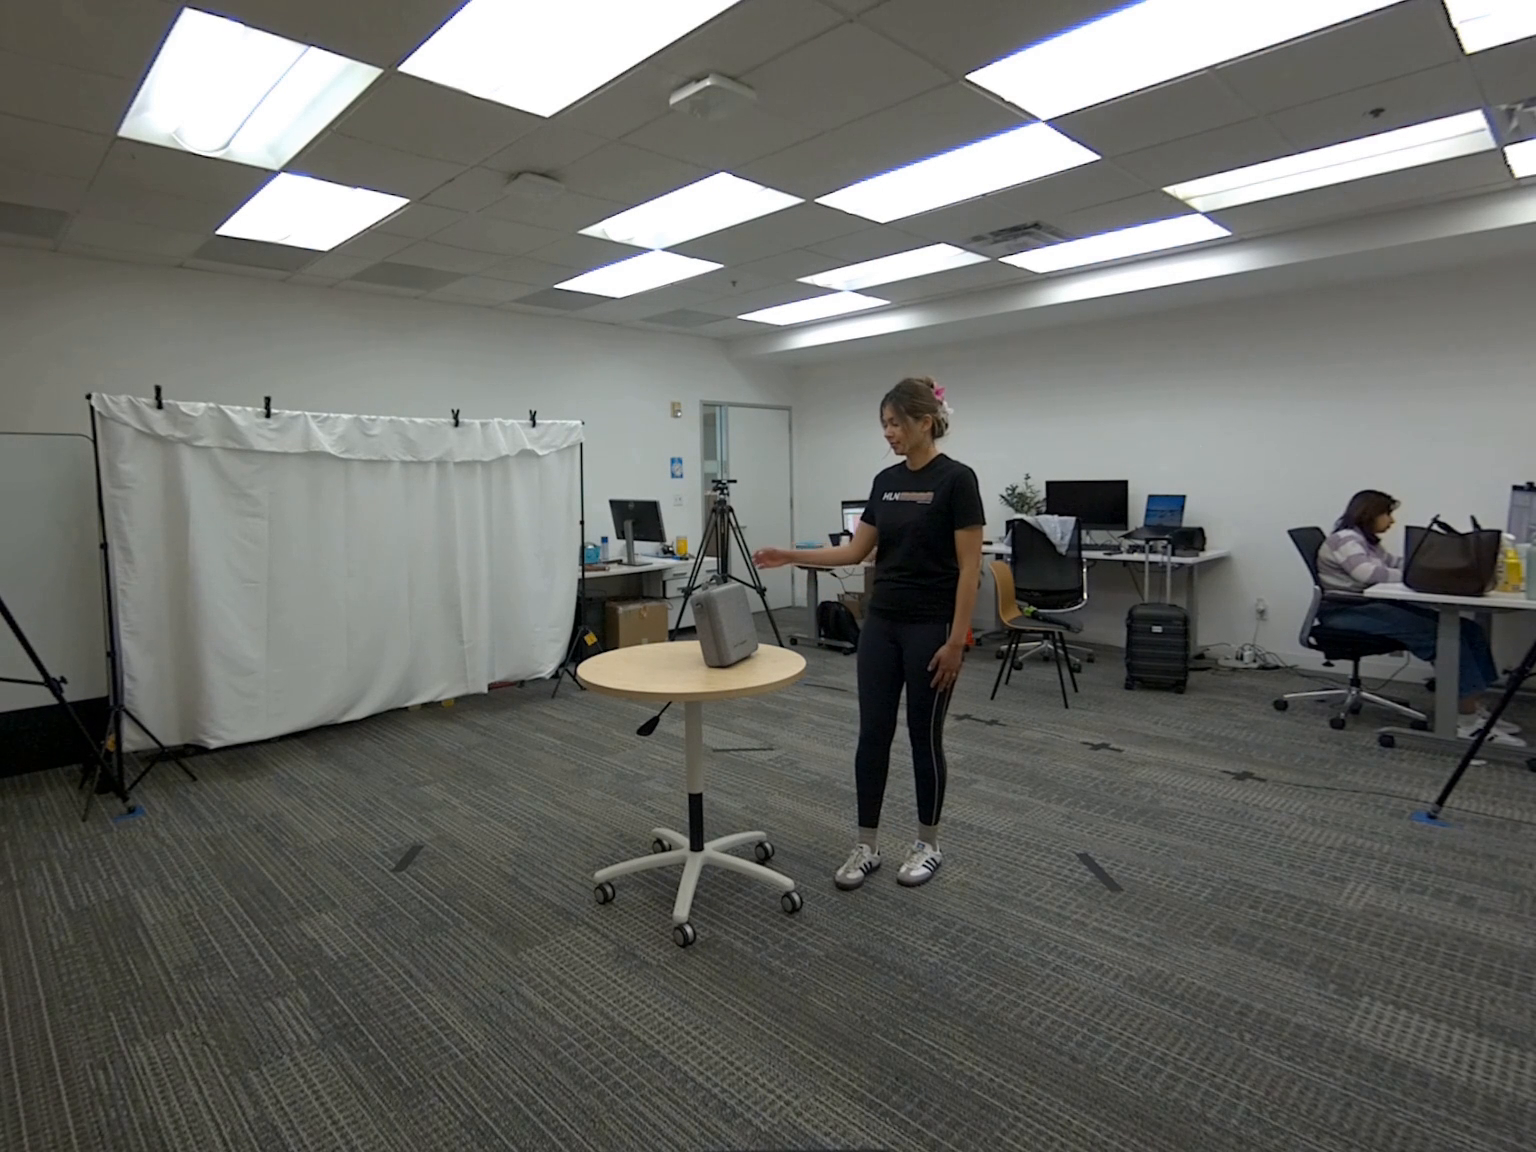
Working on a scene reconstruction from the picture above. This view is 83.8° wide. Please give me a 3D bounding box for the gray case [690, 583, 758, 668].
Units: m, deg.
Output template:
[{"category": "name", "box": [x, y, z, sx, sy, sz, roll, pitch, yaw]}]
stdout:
[{"category": "gray case", "box": [-0.142, 0.155, 2.890, 0.106, 0.261, 0.252, -13, -1, 24]}]
